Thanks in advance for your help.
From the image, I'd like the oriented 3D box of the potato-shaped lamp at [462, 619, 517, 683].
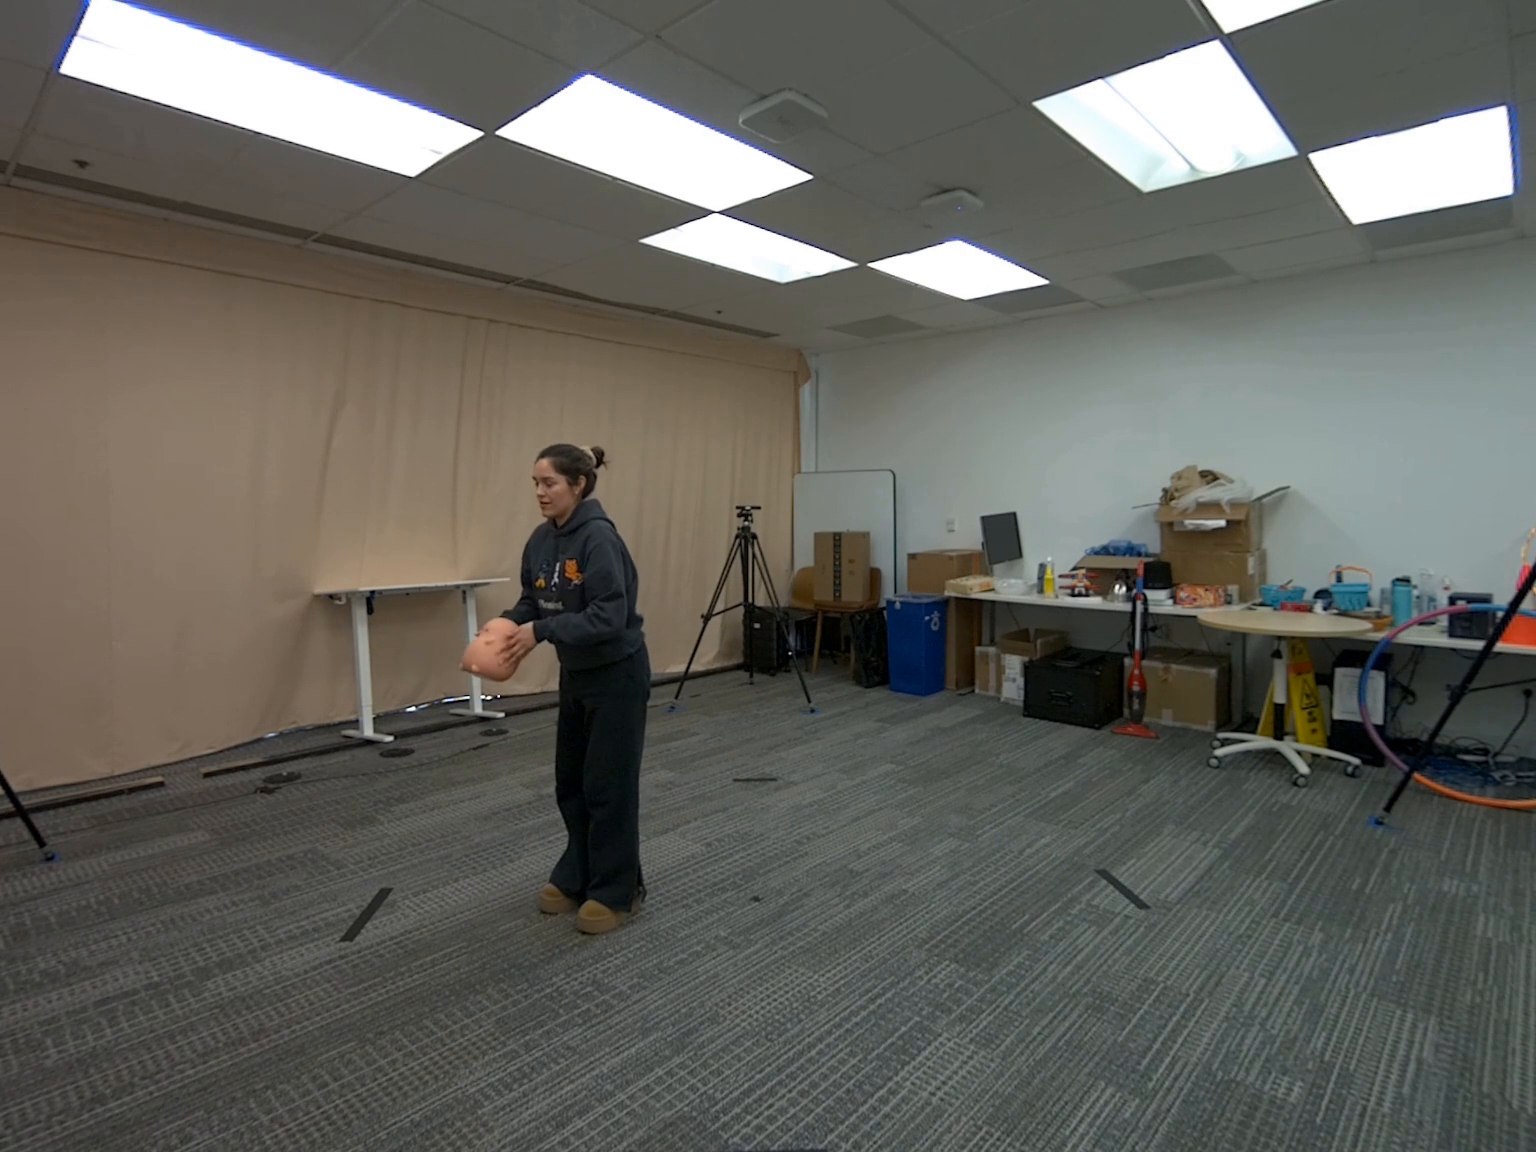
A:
[{"bbox_3d":[-0.850,0.241,2.663,0.166,0.199,0.169,23,-17,-32],"label":"potato-shaped lamp"}]
